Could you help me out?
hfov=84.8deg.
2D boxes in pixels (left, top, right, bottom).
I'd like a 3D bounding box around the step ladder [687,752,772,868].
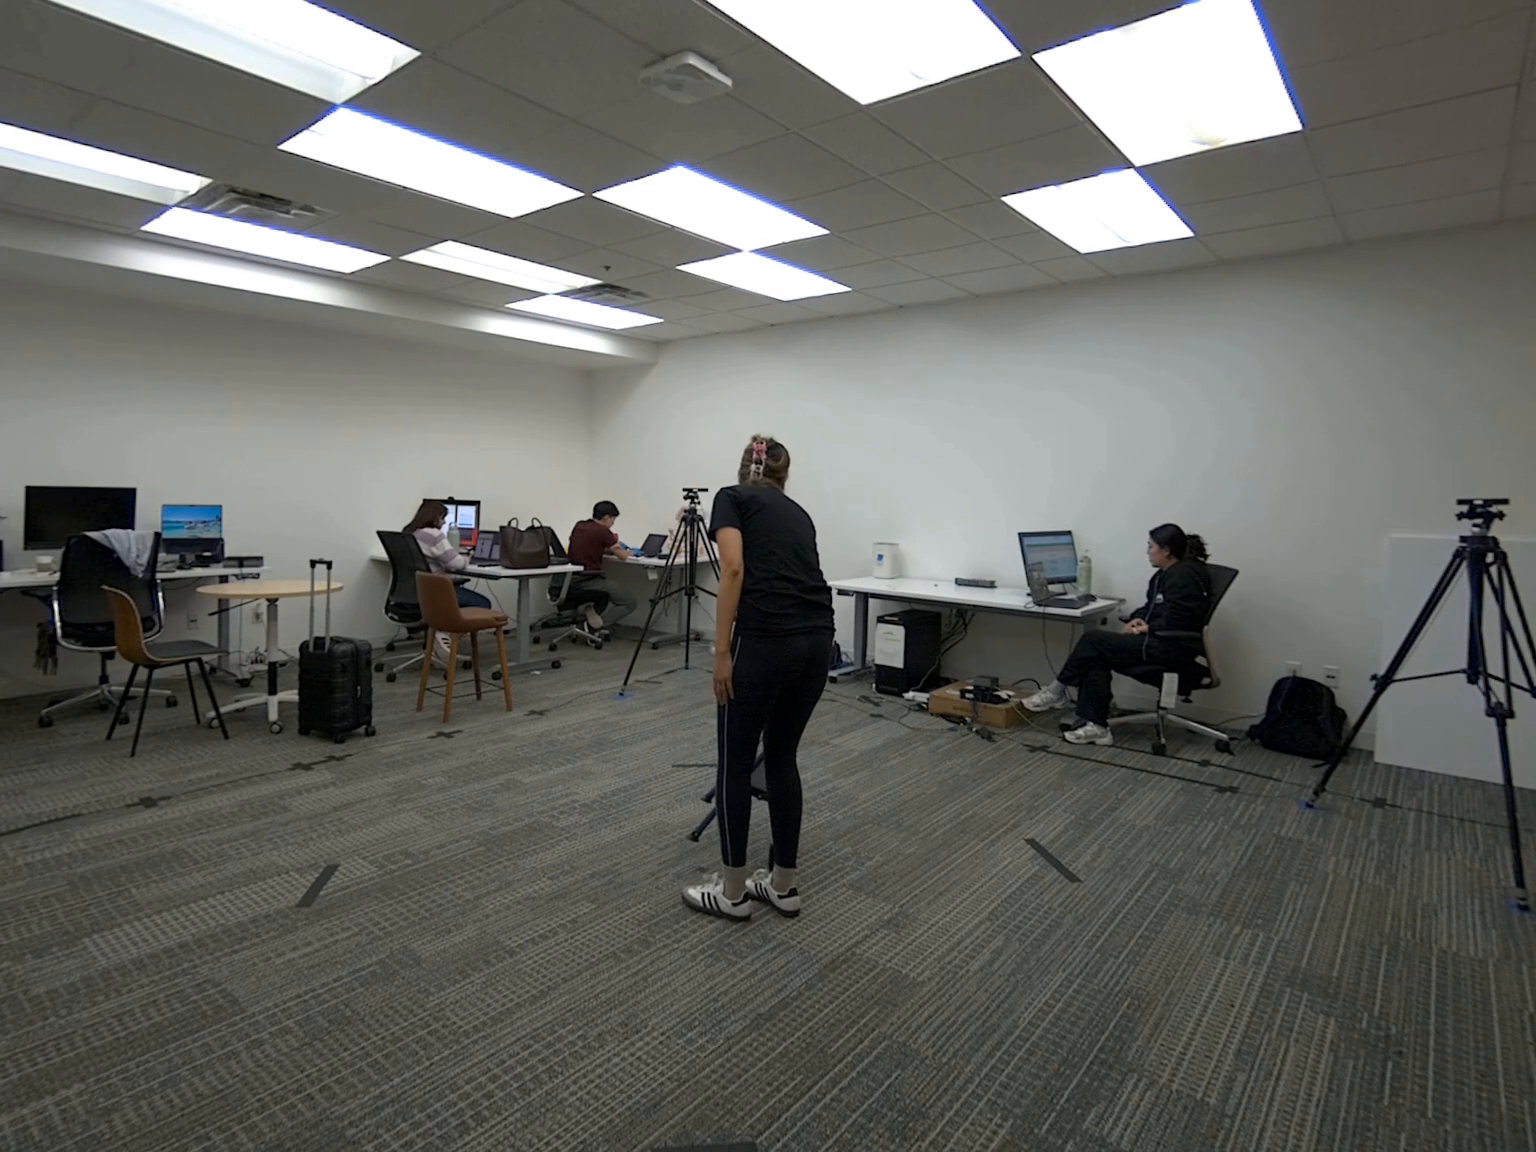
[{"bbox_3d":[-0.037,0.717,3.294,0.351,0.604,0.430,19,5,3],"label":"step ladder"}]
